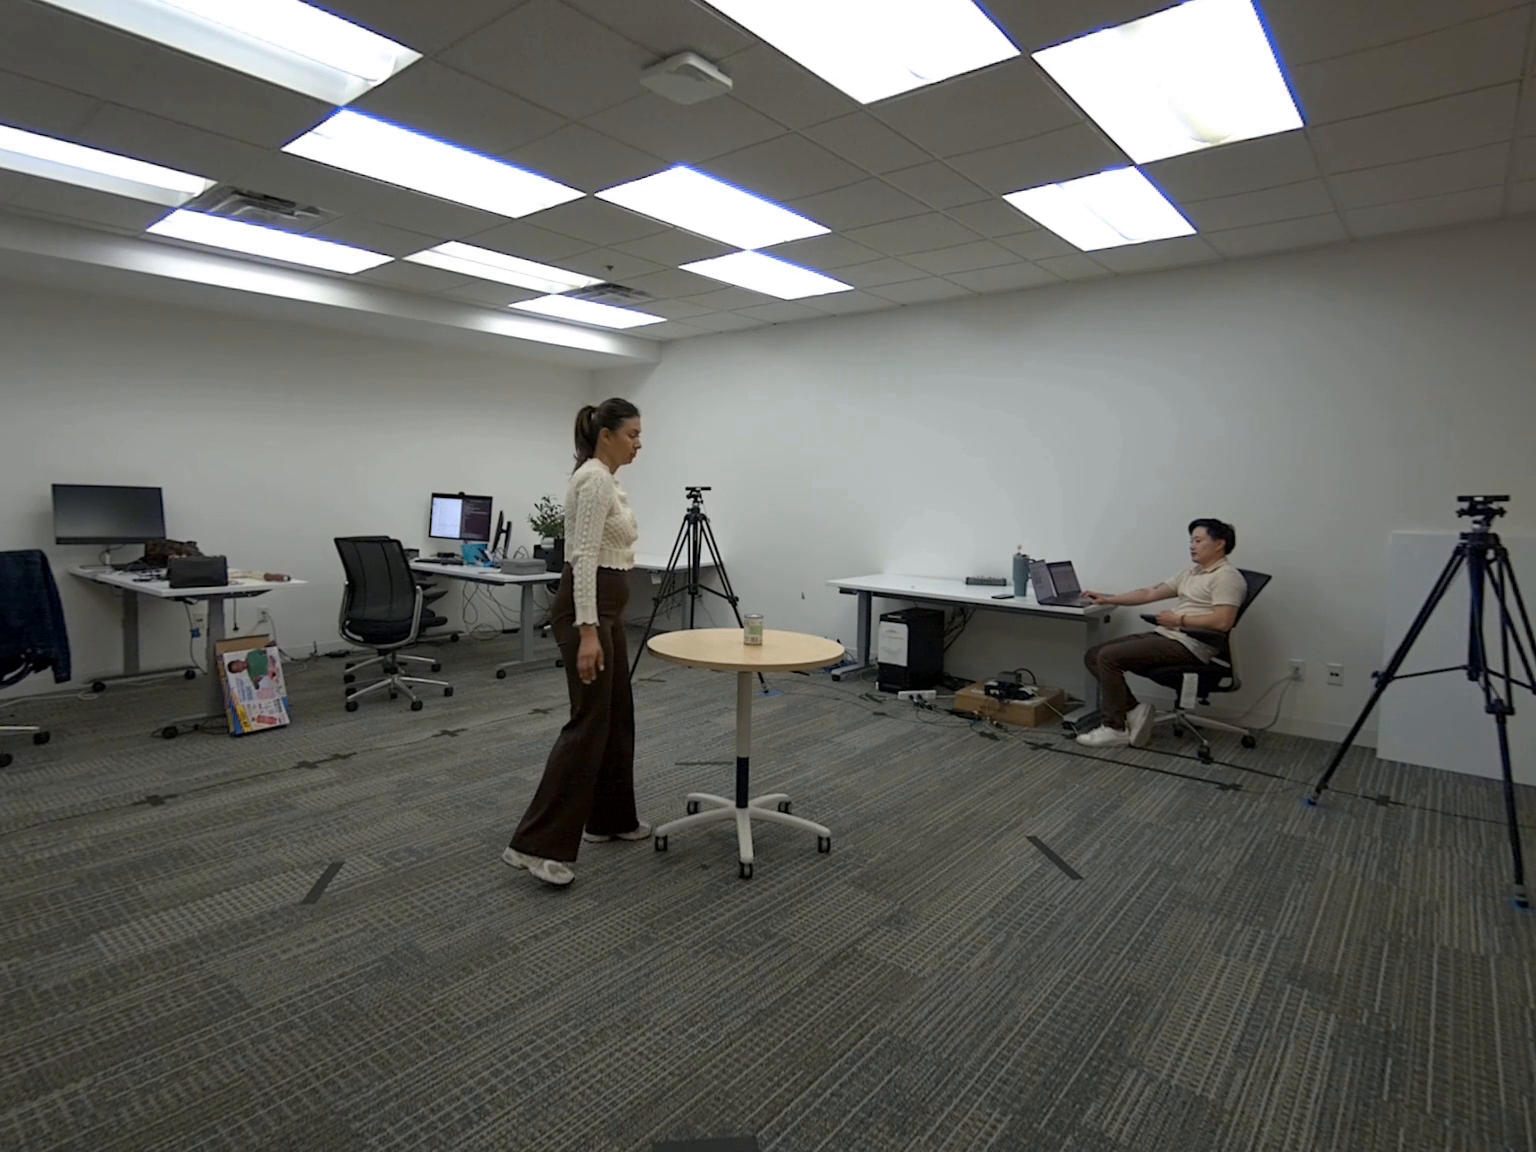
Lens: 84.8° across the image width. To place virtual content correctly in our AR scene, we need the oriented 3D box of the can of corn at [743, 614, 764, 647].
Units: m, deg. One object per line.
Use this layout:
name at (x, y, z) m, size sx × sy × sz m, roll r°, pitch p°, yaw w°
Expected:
can of corn at (-0.067, 0.210, 3.313) m, size 0.074 × 0.111 × 0.074 m, roll 3°, pitch 3°, yaw -2°
